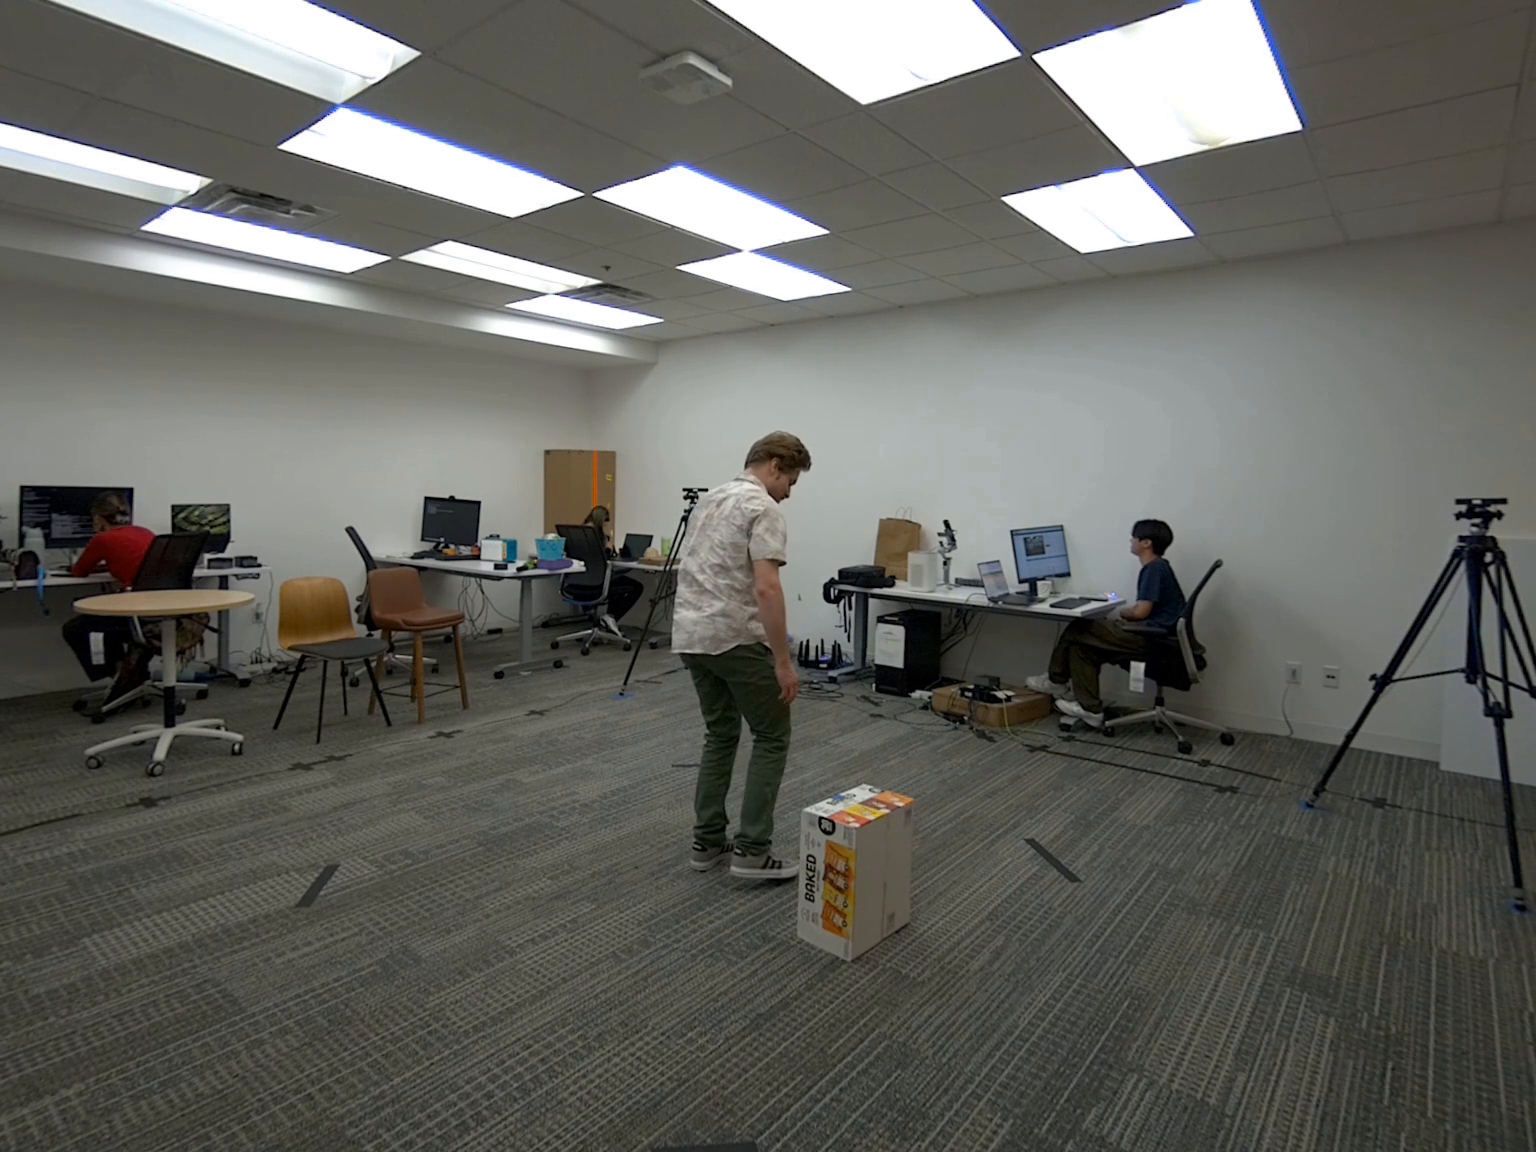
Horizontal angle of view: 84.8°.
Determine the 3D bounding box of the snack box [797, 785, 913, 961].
[{"bbox_3d":[0.278,0.919,2.690,0.213,0.404,0.330,4,4,41],"label":"snack box"}]
